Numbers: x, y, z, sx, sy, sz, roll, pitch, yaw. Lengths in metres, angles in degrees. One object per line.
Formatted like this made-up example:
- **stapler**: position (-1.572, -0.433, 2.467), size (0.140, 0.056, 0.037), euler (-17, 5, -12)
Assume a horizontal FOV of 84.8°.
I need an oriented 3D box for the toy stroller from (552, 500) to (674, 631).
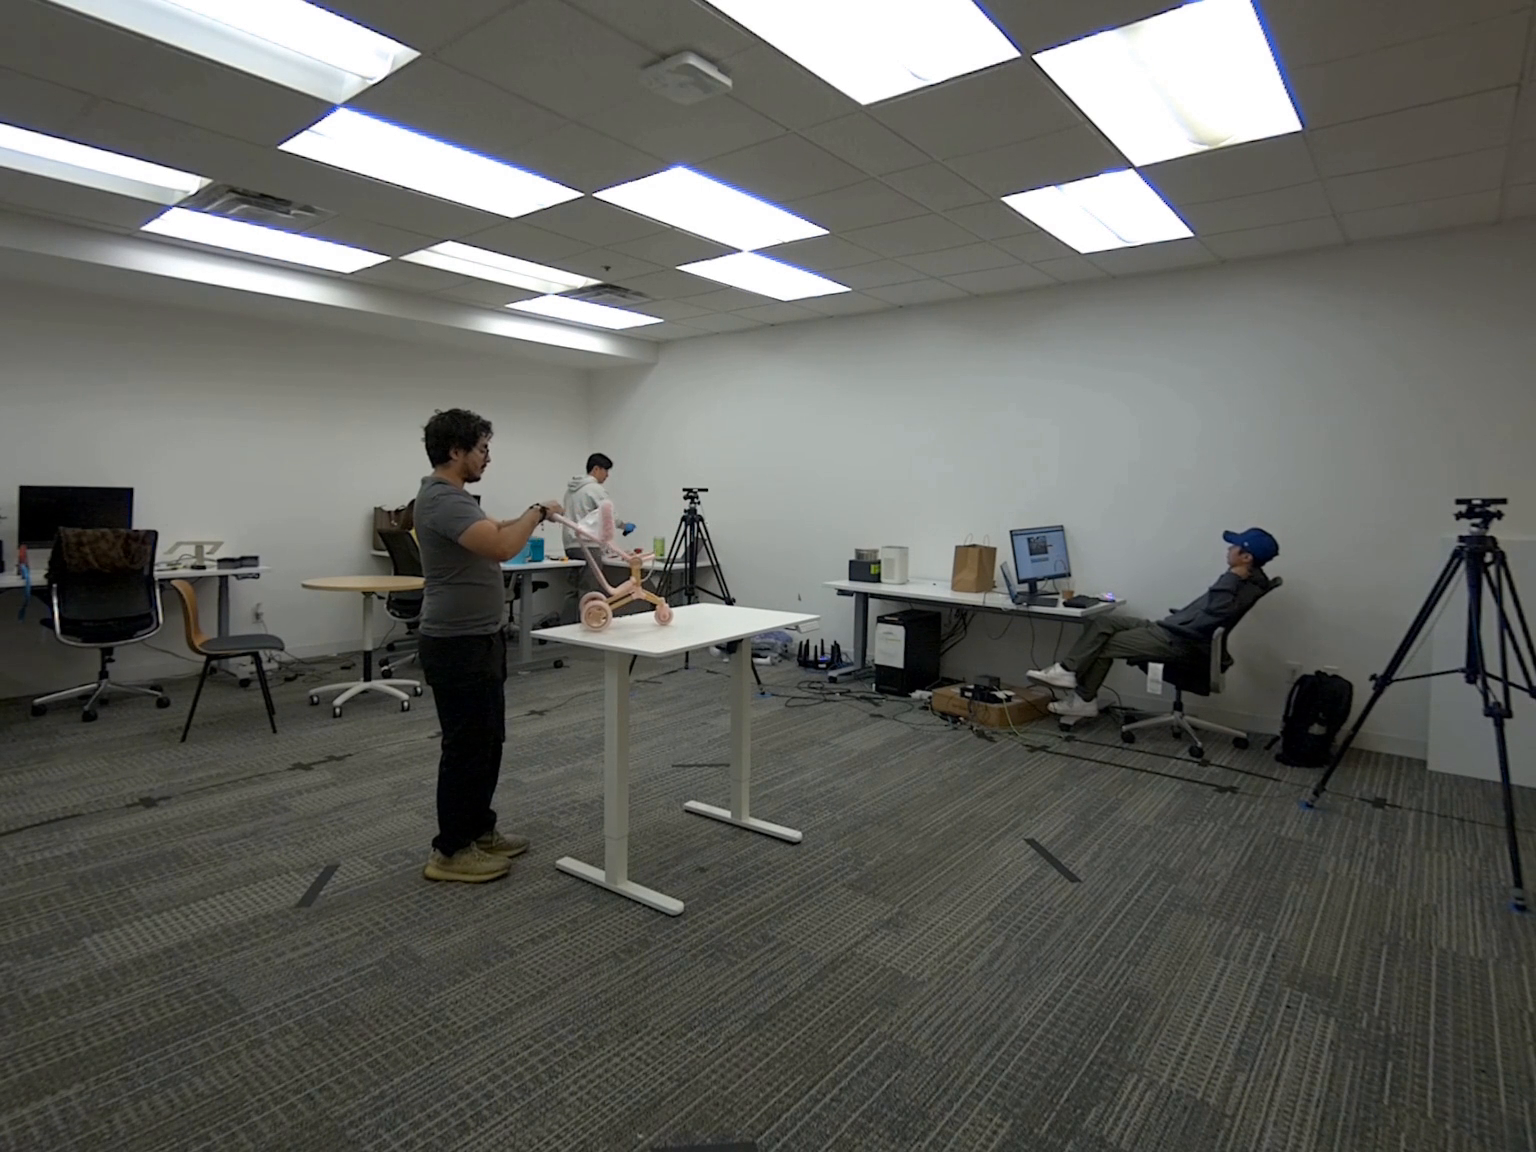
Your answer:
- **toy stroller**: position (-0.576, -0.038, 3.105), size (0.340, 0.531, 0.285), euler (-15, 6, -7)
